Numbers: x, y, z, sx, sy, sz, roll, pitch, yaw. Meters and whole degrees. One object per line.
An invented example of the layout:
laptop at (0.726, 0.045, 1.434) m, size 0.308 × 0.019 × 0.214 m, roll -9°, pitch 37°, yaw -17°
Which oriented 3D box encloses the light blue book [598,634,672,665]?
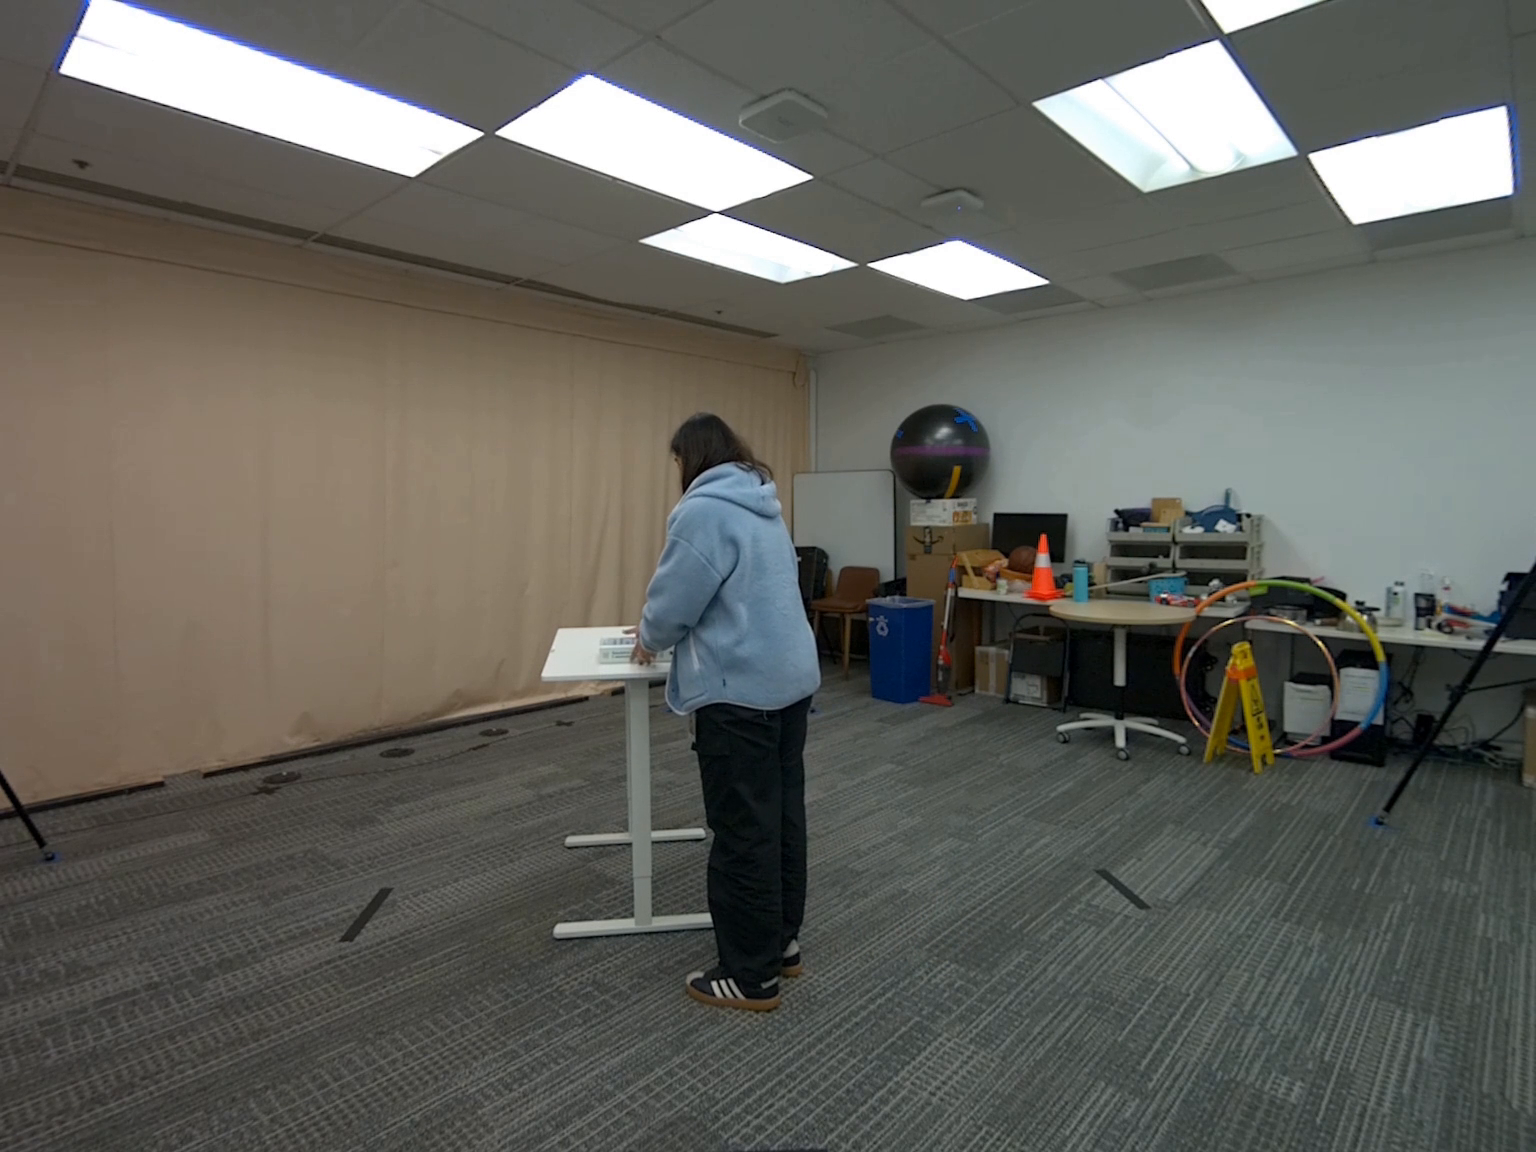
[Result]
light blue book at (-0.444, 0.248, 2.855) m, size 0.261 × 0.059 × 0.192 m, roll 0°, pitch 5°, yaw -2°
